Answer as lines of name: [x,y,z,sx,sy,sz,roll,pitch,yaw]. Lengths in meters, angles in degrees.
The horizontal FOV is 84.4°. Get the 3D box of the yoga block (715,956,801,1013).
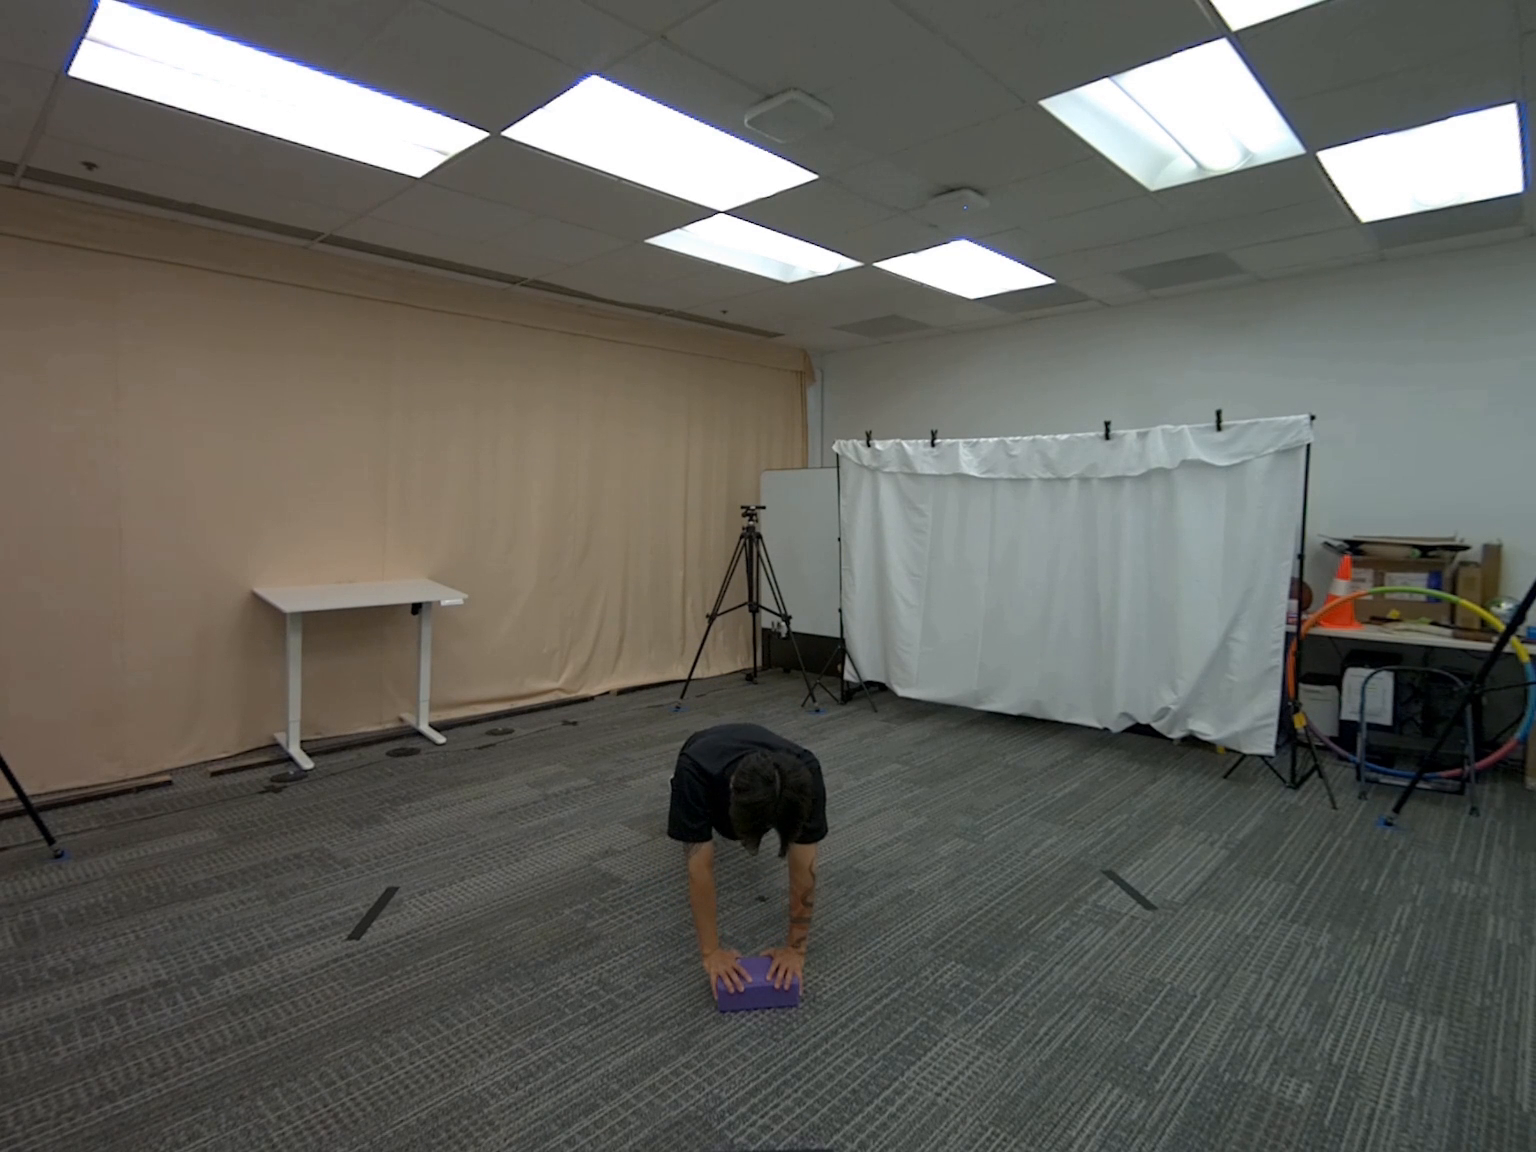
yoga block: [-0.039,1.149,2.397,0.227,0.076,0.151,0,5,-8]
